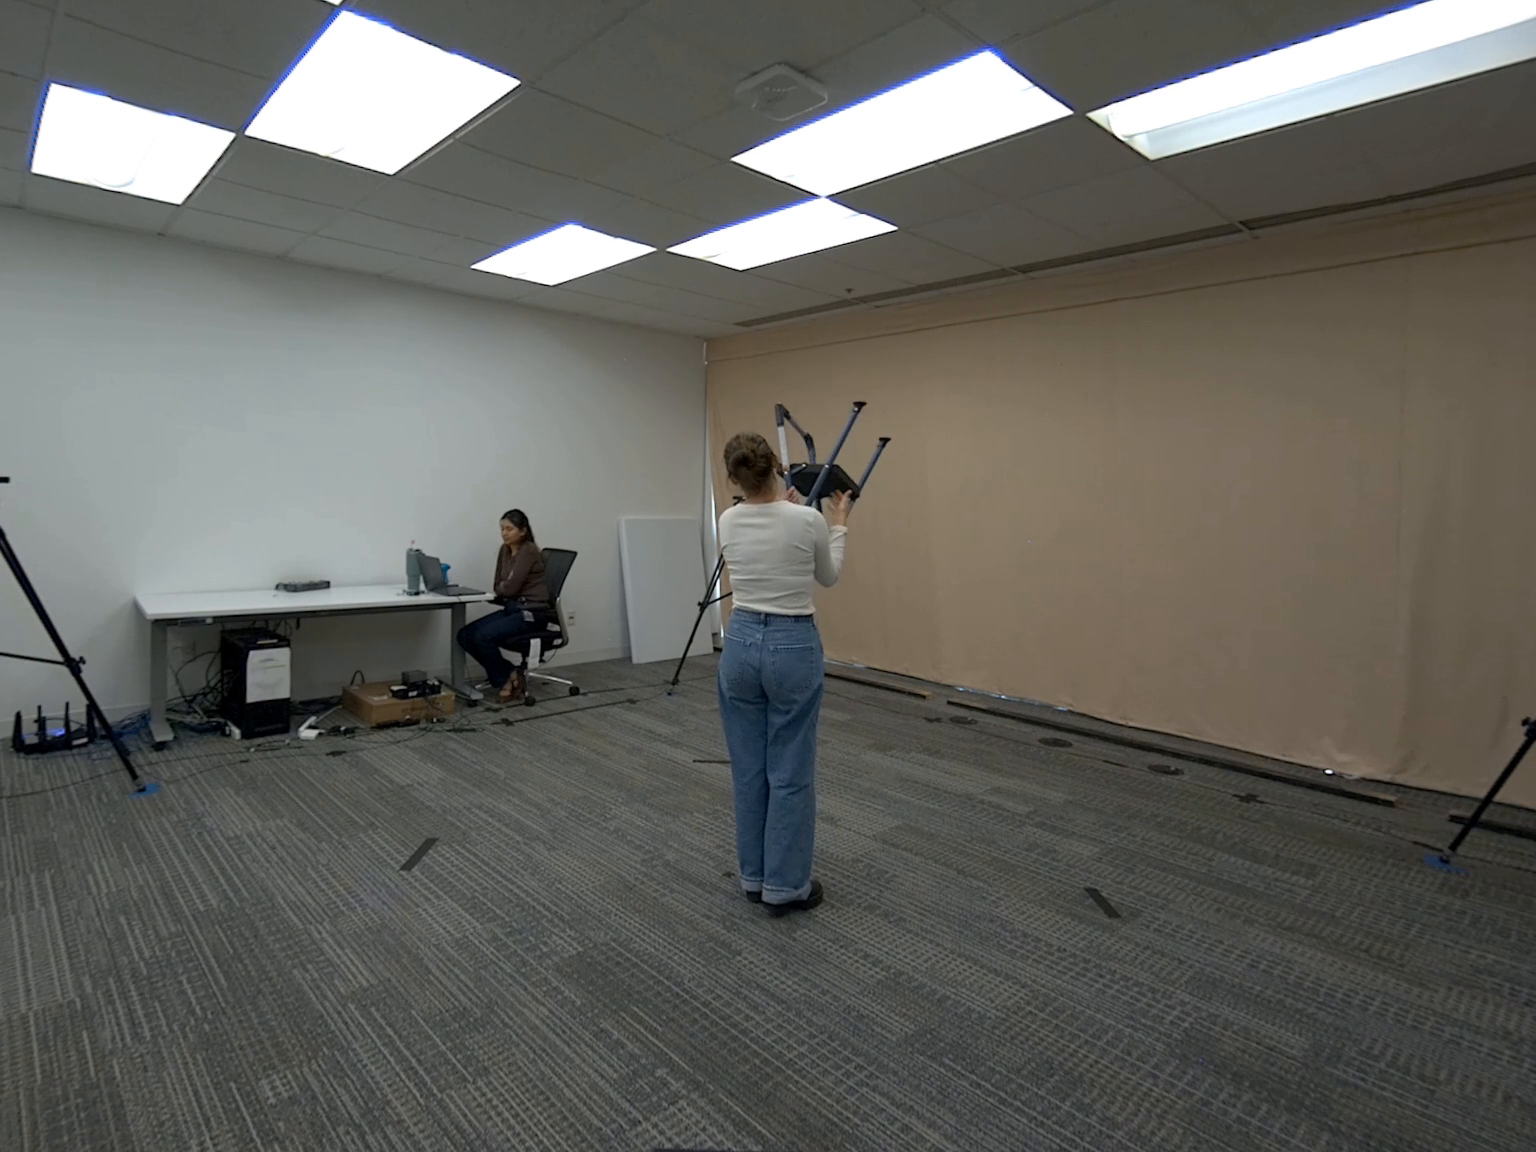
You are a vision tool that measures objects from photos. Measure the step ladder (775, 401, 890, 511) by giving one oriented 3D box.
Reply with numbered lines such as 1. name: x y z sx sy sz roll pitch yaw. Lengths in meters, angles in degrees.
1. step ladder: 0.212 -0.296 3.201 0.356 0.610 0.420 4 -10 23
